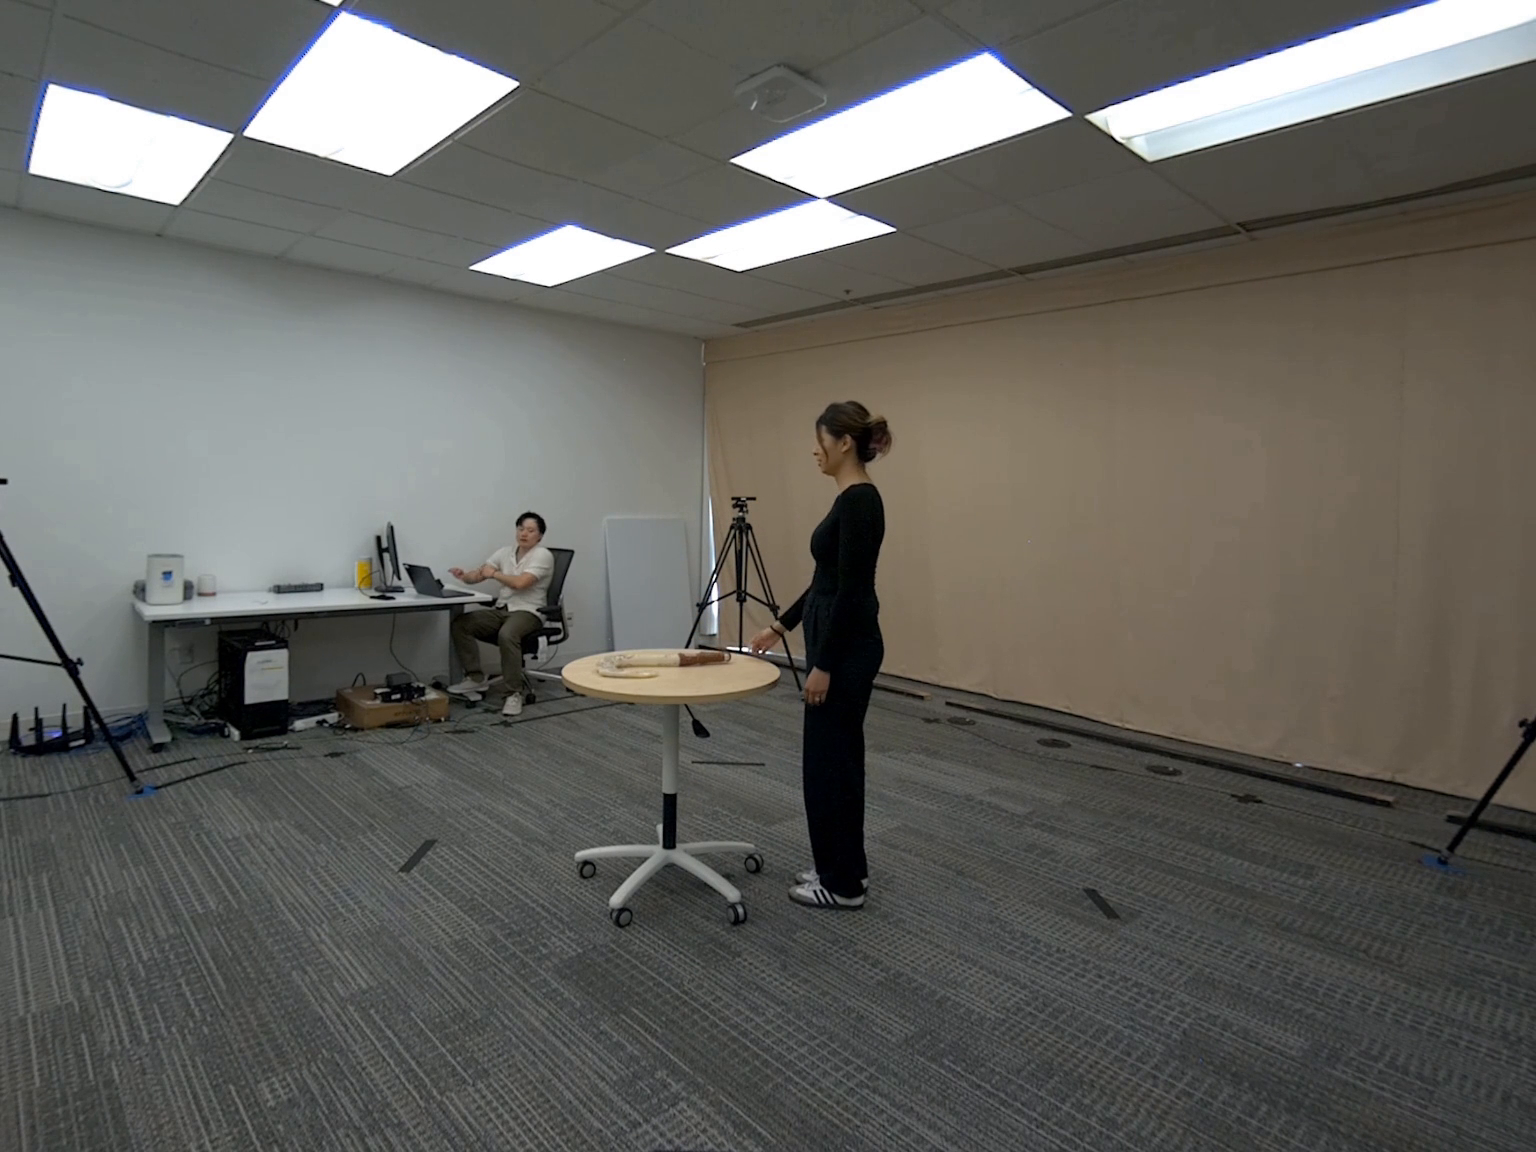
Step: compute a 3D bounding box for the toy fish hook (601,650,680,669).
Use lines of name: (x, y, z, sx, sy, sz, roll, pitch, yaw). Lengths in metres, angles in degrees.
toy fish hook: (-0.346, 0.321, 2.959, 0.499, 0.048, 0.229, -3, 12, -20)
